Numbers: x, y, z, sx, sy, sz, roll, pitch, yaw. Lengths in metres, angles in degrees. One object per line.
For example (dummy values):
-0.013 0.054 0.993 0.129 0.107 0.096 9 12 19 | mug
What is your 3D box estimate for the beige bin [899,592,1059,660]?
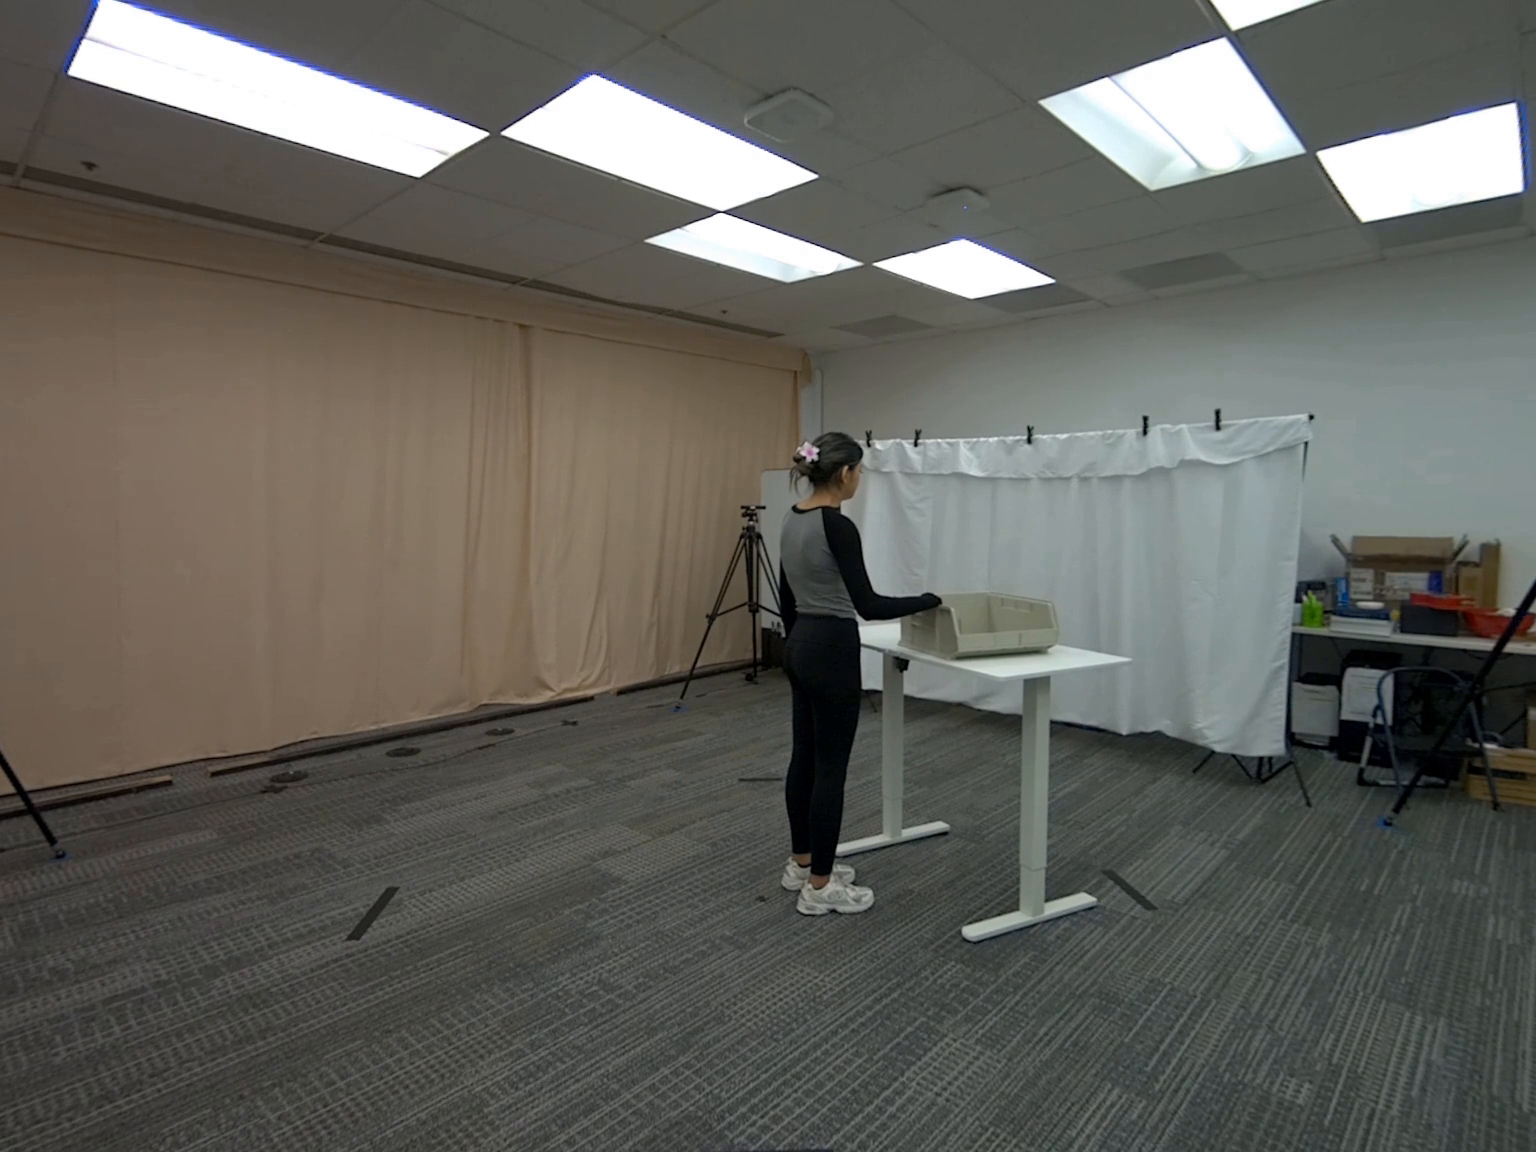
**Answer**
0.736 0.176 2.959 0.414 0.189 0.385 -2 3 -20 | beige bin
